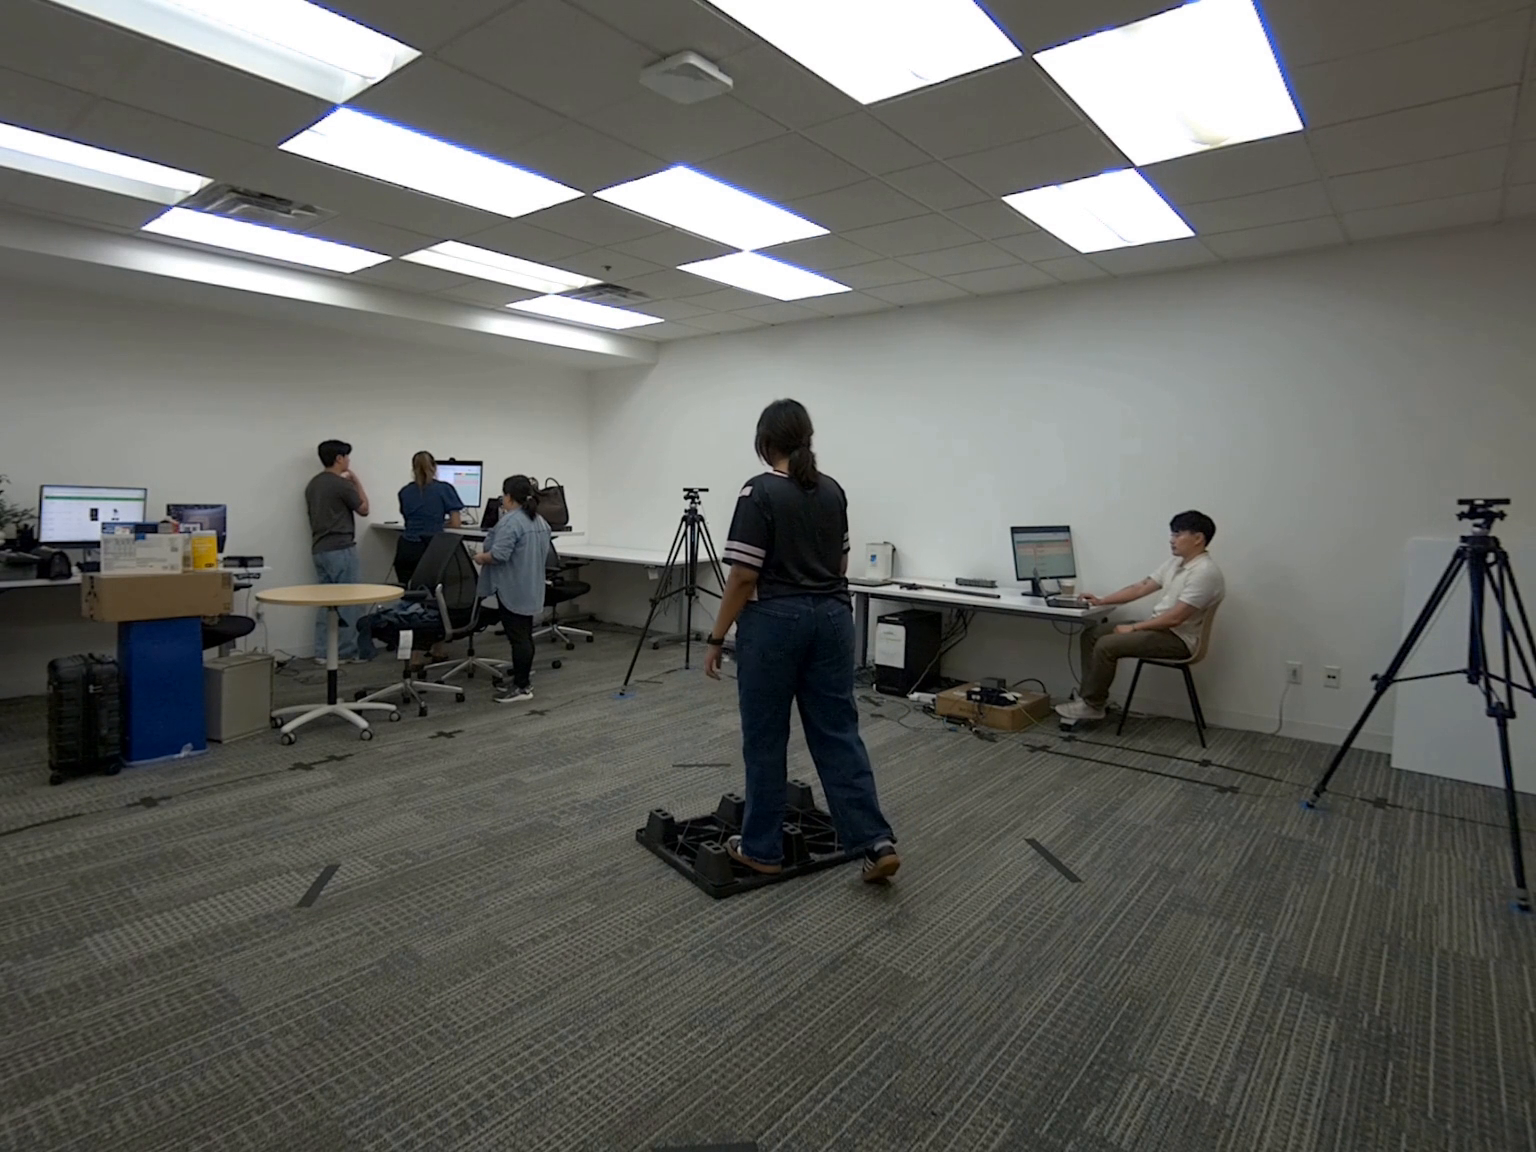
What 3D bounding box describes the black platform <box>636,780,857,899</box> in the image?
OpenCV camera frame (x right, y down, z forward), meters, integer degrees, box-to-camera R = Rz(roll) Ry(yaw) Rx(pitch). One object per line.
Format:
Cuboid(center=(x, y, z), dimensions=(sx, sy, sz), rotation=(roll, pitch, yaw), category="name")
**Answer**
Cuboid(center=(-0.045, 0.987, 3.325), dimensions=(0.782, 0.143, 0.625), rotation=(-3, 6, -35), category="black platform")
